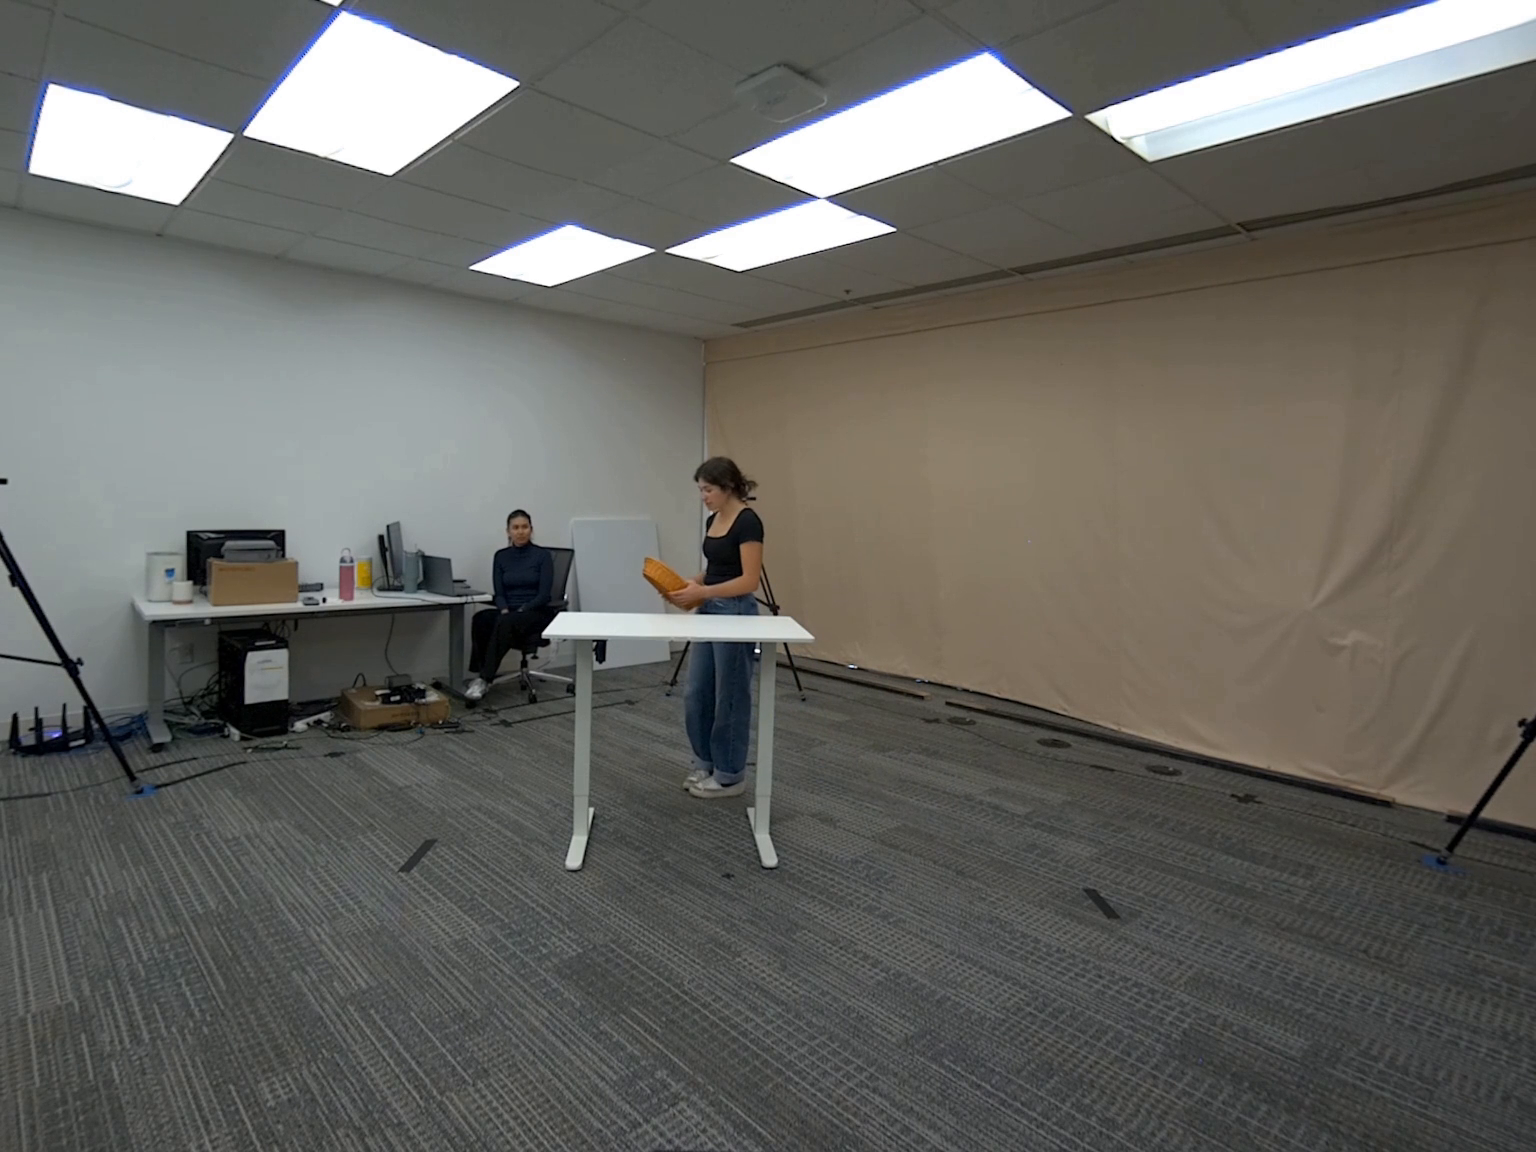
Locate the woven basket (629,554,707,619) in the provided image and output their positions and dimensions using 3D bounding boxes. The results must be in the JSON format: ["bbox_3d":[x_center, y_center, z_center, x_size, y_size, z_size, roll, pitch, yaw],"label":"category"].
[{"bbox_3d":[-0.443,0.050,3.835,0.345,0.073,0.255,41,-18,-14],"label":"woven basket"}]
